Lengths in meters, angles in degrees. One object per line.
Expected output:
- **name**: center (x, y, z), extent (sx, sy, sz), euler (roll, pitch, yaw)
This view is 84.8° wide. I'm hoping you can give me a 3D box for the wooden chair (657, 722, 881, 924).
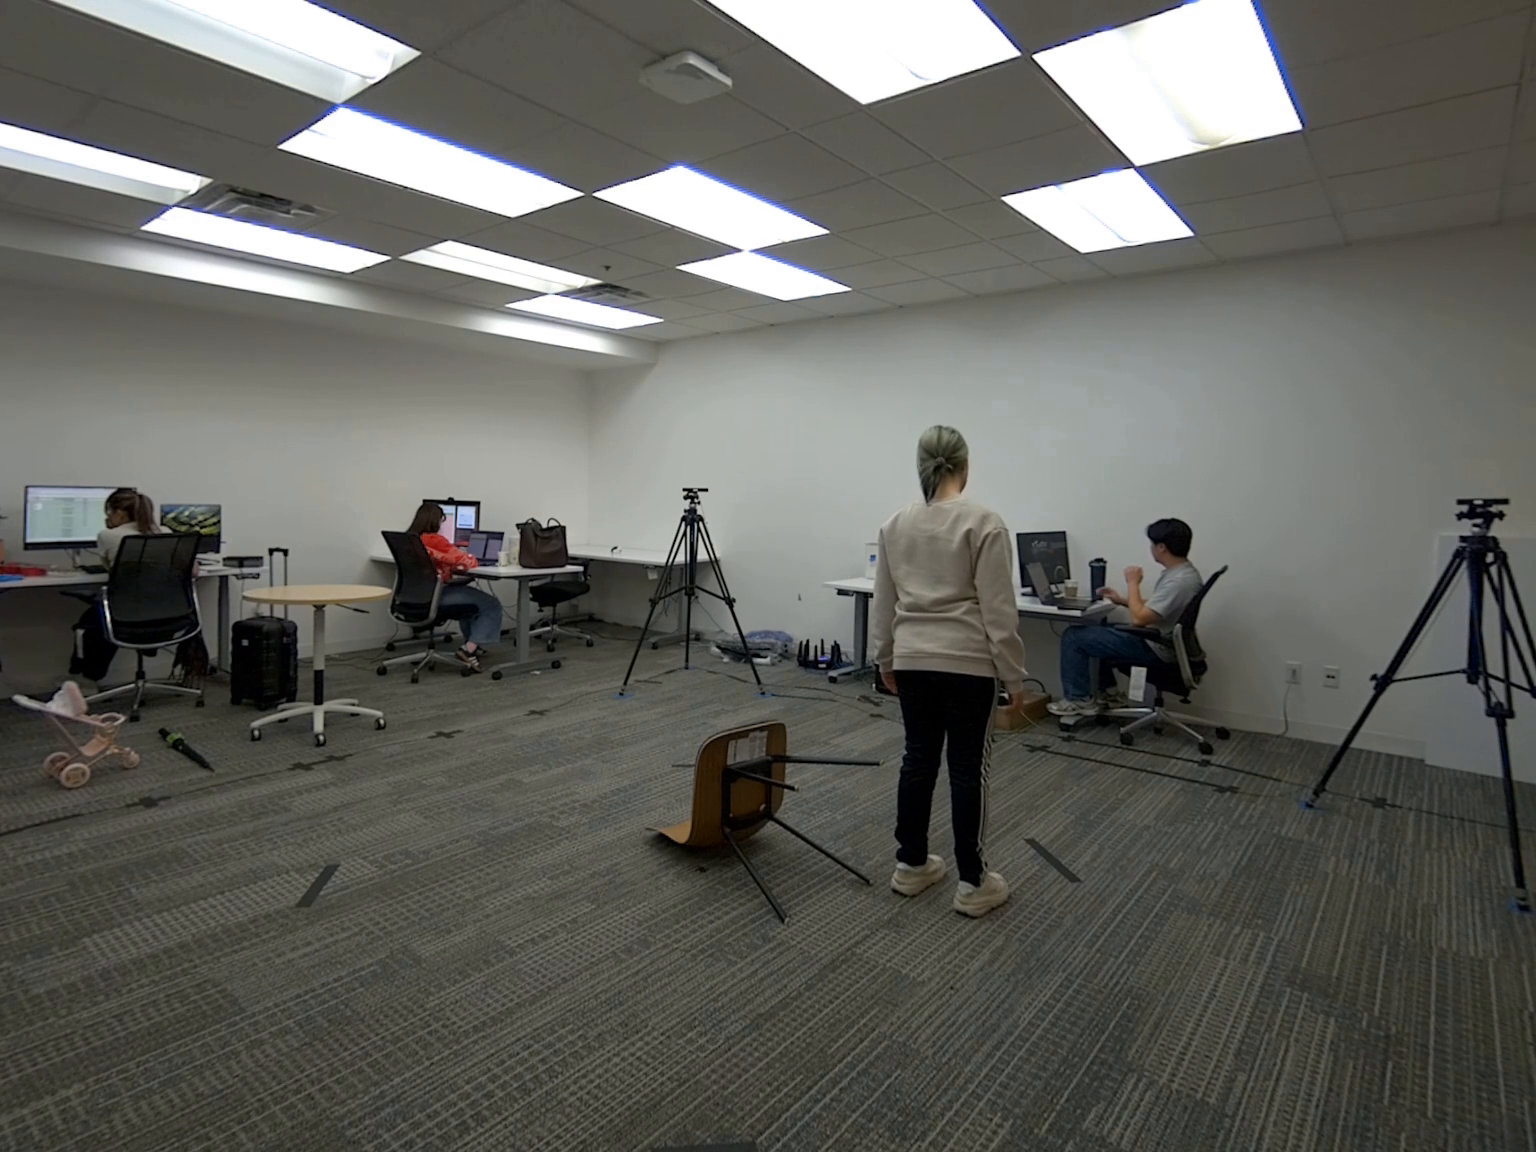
- **wooden chair**: center (-0.080, 0.810, 3.163), extent (0.463, 0.522, 0.907), euler (-2, 5, -43)
